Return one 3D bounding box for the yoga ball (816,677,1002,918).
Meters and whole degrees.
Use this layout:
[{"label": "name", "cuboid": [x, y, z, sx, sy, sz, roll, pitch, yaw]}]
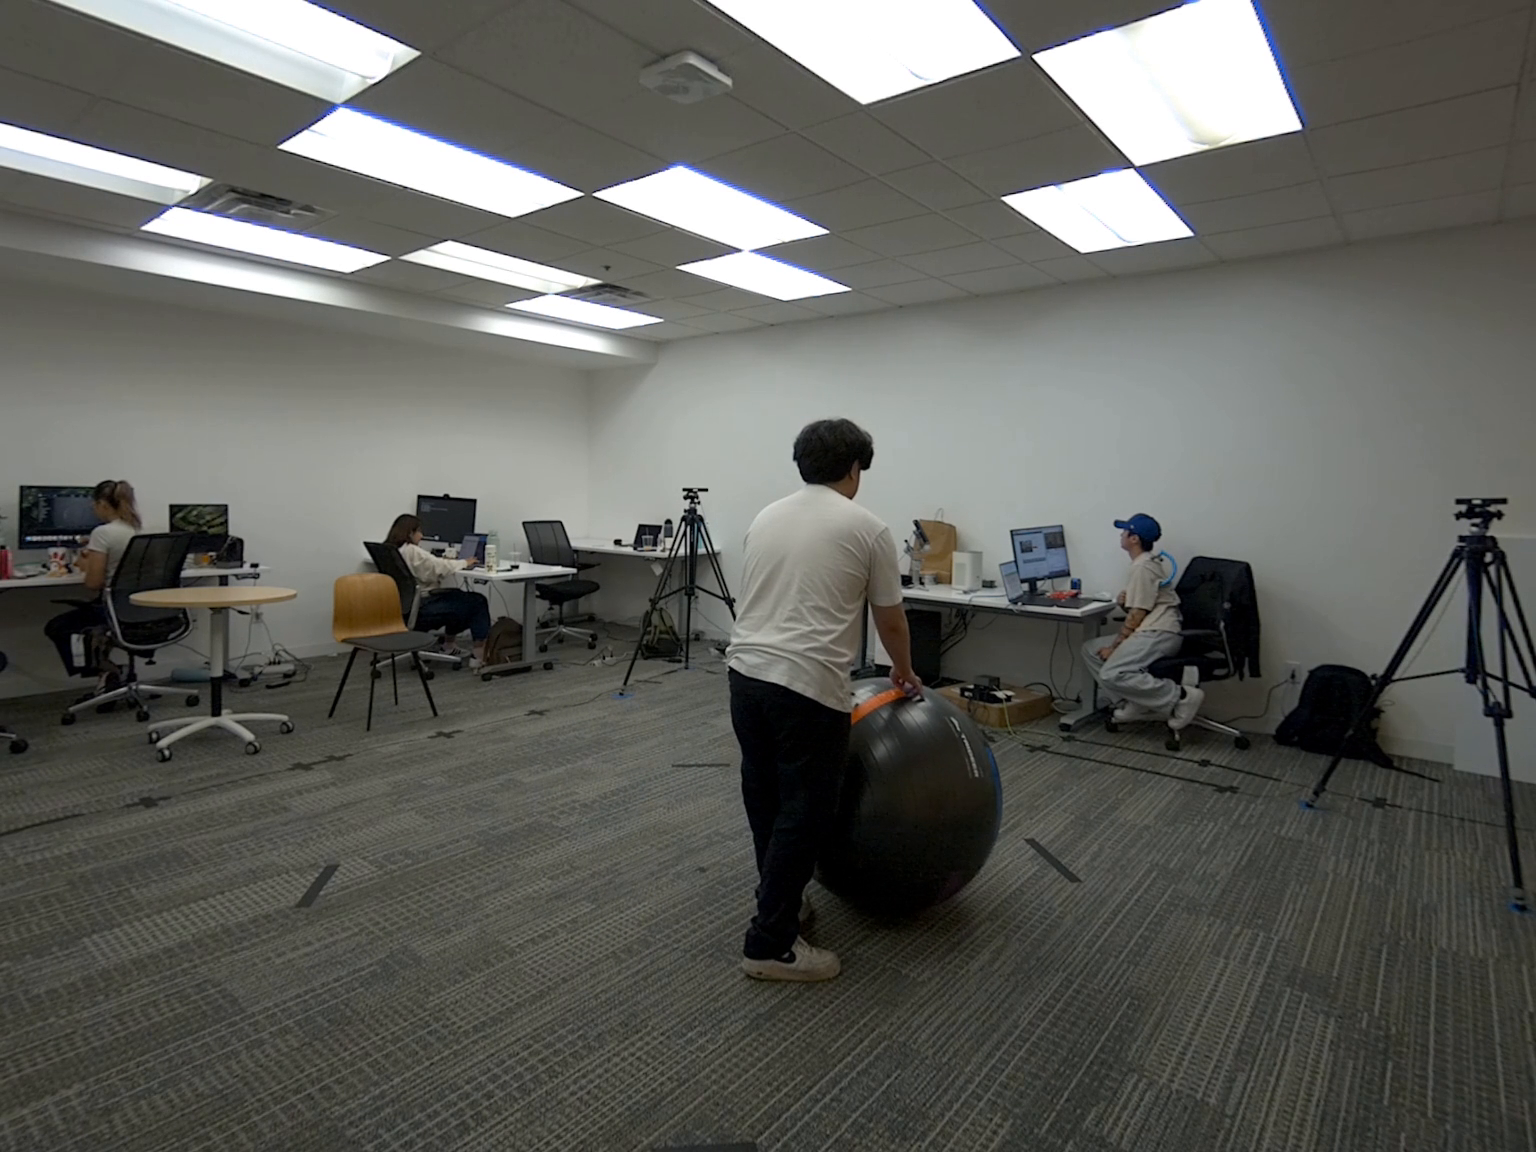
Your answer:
[{"label": "yoga ball", "cuboid": [0.404, 0.741, 2.899, 0.757, 0.755, 0.762, 1, 4, -2]}]
